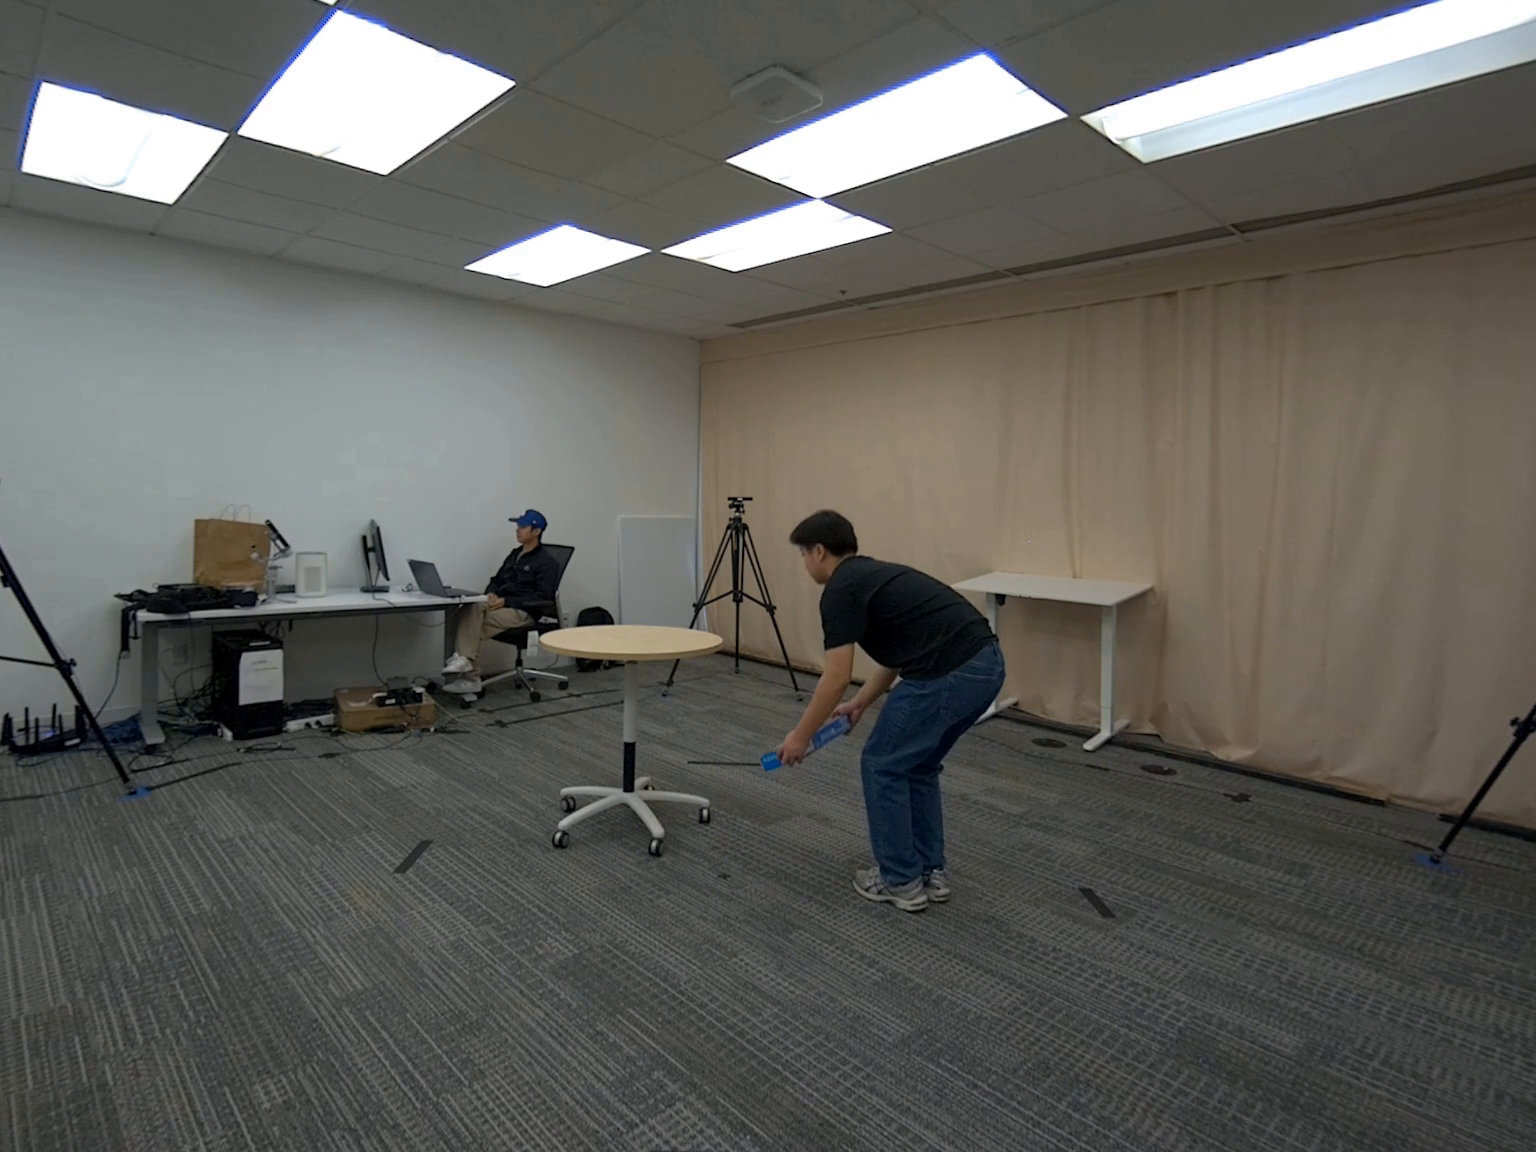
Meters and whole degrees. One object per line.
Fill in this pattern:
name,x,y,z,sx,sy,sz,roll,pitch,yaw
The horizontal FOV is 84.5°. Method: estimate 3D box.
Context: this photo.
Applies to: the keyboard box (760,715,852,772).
keyboard box,0.146,0.629,3.192,0.178,0.059,0.429,-25,-7,30
